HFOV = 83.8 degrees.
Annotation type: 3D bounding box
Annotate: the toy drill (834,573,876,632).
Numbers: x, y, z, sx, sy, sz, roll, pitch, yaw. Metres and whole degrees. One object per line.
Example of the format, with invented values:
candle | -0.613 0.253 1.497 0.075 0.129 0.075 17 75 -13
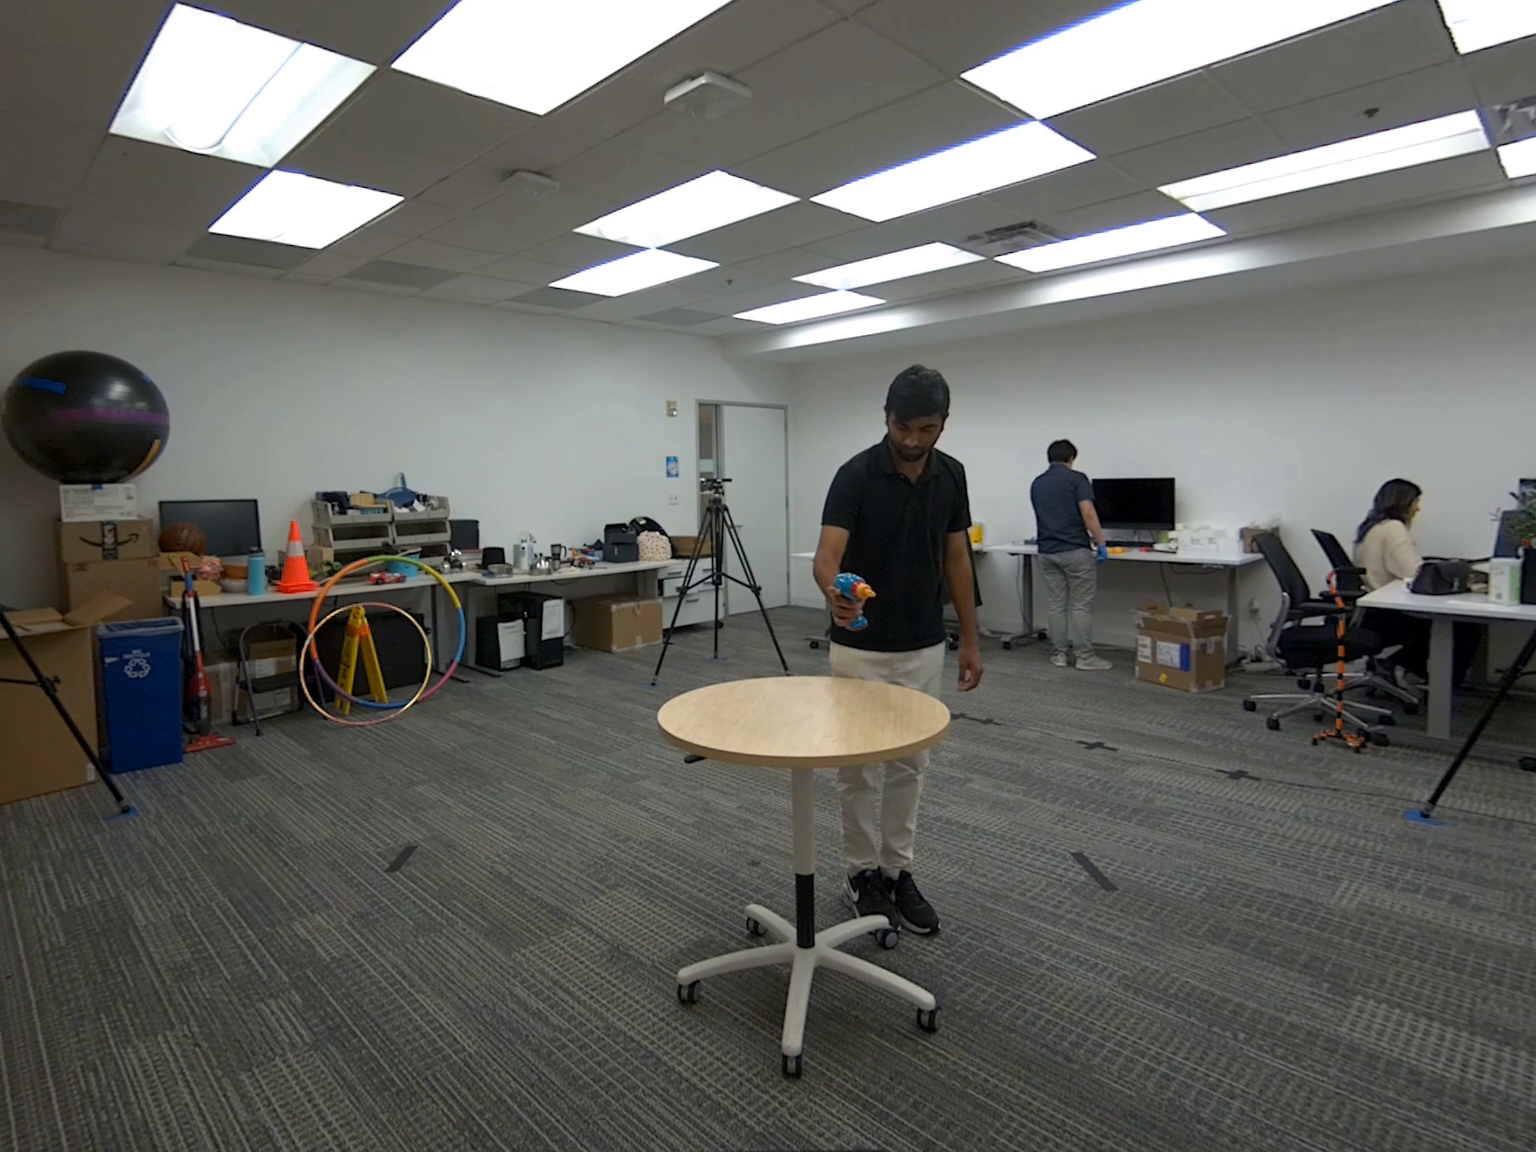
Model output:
toy drill | 0.226 0.064 2.147 0.061 0.142 0.174 -29 21 -10
